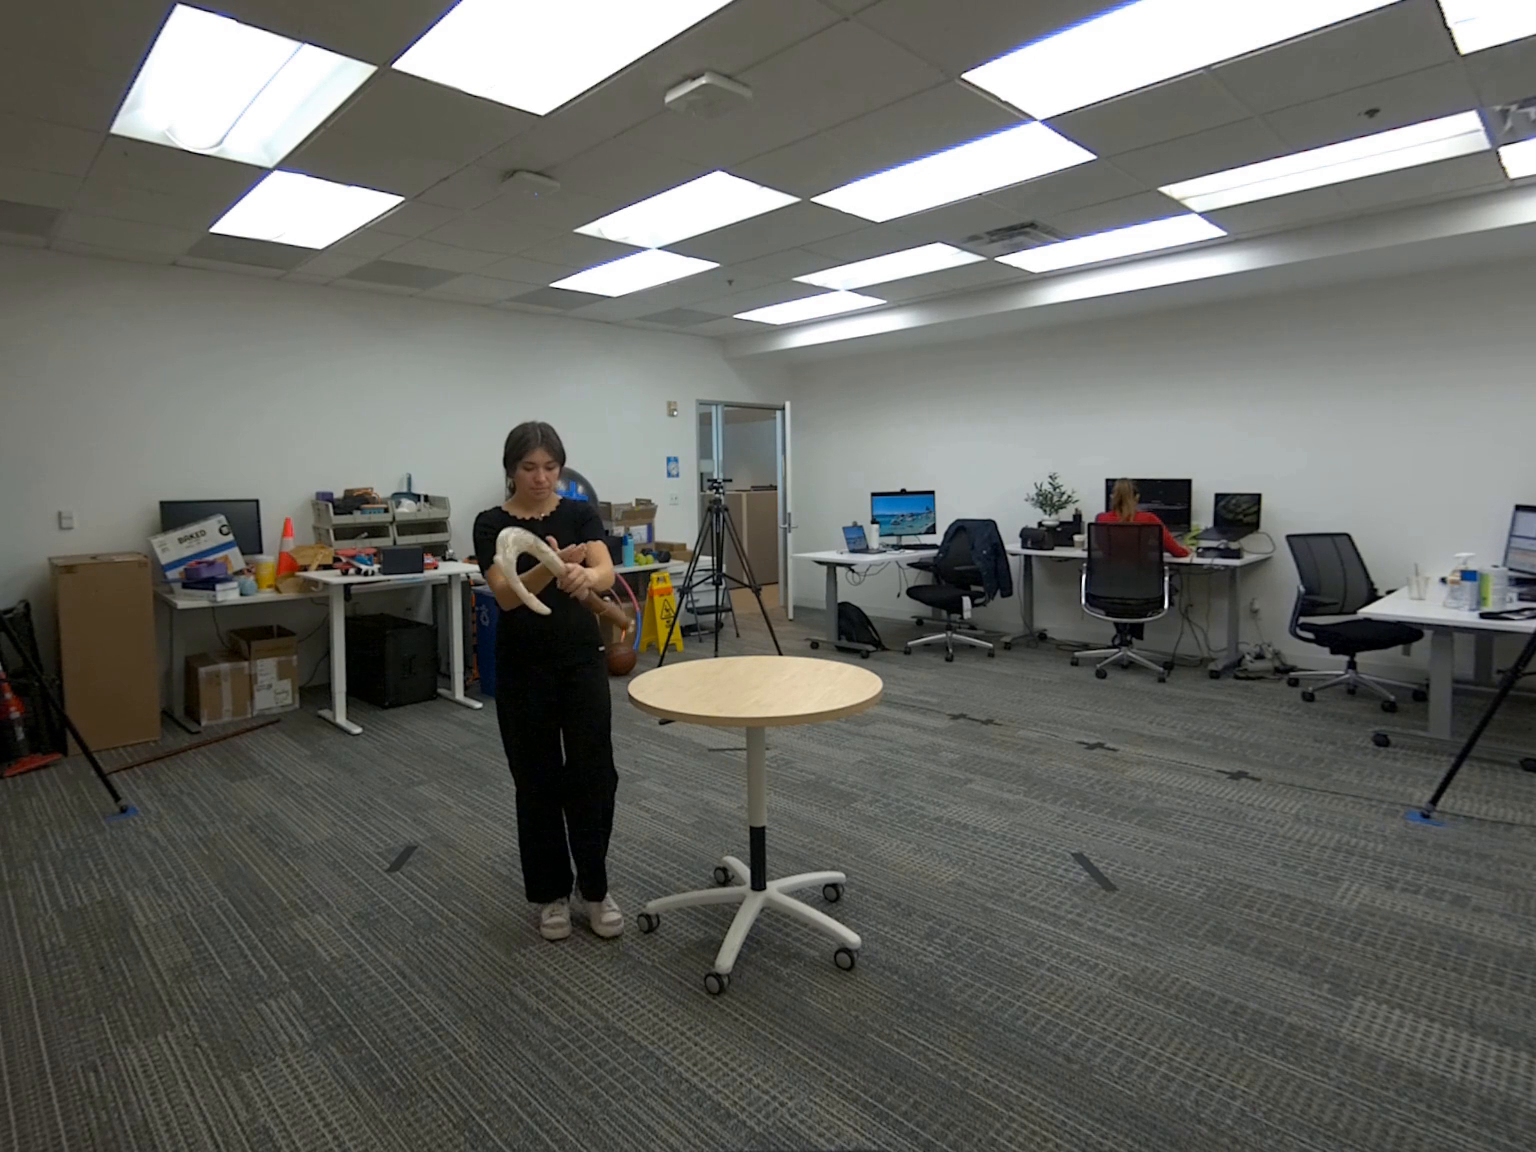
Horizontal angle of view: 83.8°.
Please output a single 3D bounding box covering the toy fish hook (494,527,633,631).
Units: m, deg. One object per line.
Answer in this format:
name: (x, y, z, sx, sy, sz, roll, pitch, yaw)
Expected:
toy fish hook: (-0.530, 0.068, 2.241, 0.049, 0.230, 0.487, -20, -46, 28)
